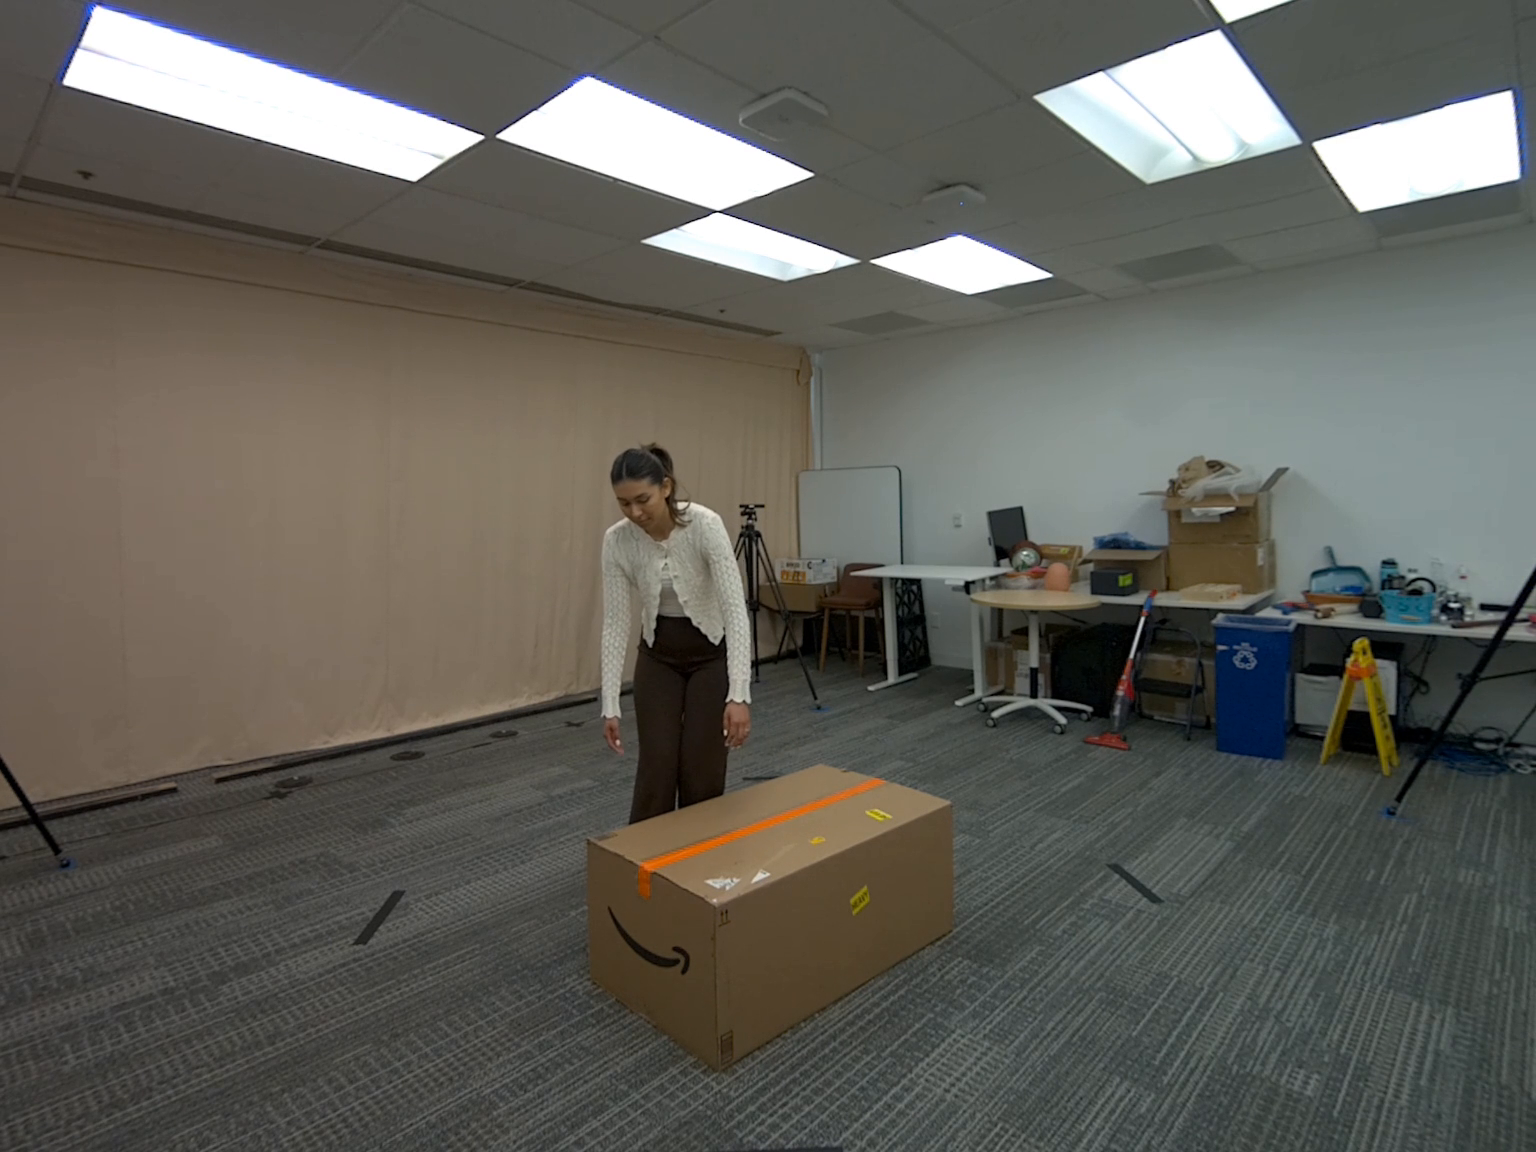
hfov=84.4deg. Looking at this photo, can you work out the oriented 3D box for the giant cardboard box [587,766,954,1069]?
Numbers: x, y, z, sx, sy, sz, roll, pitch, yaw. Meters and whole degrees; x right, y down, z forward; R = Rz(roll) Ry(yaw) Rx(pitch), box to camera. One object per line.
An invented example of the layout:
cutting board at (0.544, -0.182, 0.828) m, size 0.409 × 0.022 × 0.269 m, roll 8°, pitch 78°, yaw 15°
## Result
giant cardboard box at (0.038, 0.958, 2.598) m, size 0.995 × 0.425 × 0.597 m, roll -5°, pitch 7°, yaw -43°
